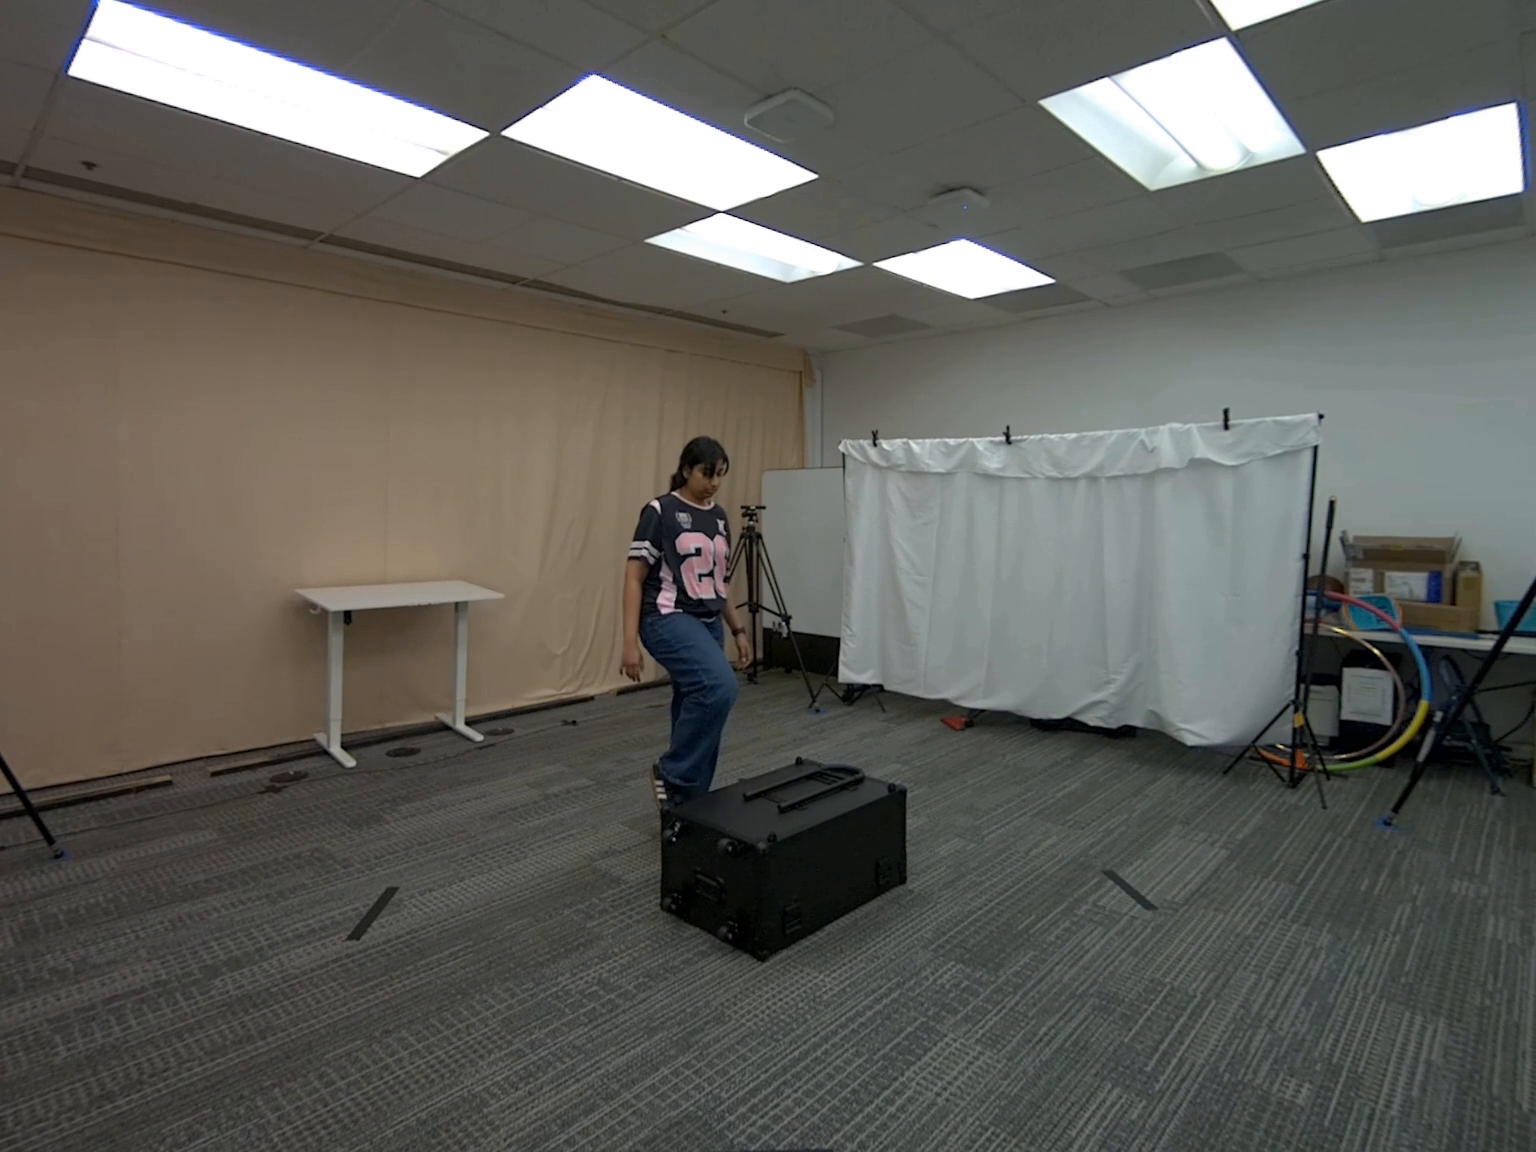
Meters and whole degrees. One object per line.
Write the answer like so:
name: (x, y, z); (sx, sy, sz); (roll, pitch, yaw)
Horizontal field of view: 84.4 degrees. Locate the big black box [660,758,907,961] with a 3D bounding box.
big black box: (0.057, 0.961, 2.965); (0.541, 0.384, 0.842); (5, 7, 44)
